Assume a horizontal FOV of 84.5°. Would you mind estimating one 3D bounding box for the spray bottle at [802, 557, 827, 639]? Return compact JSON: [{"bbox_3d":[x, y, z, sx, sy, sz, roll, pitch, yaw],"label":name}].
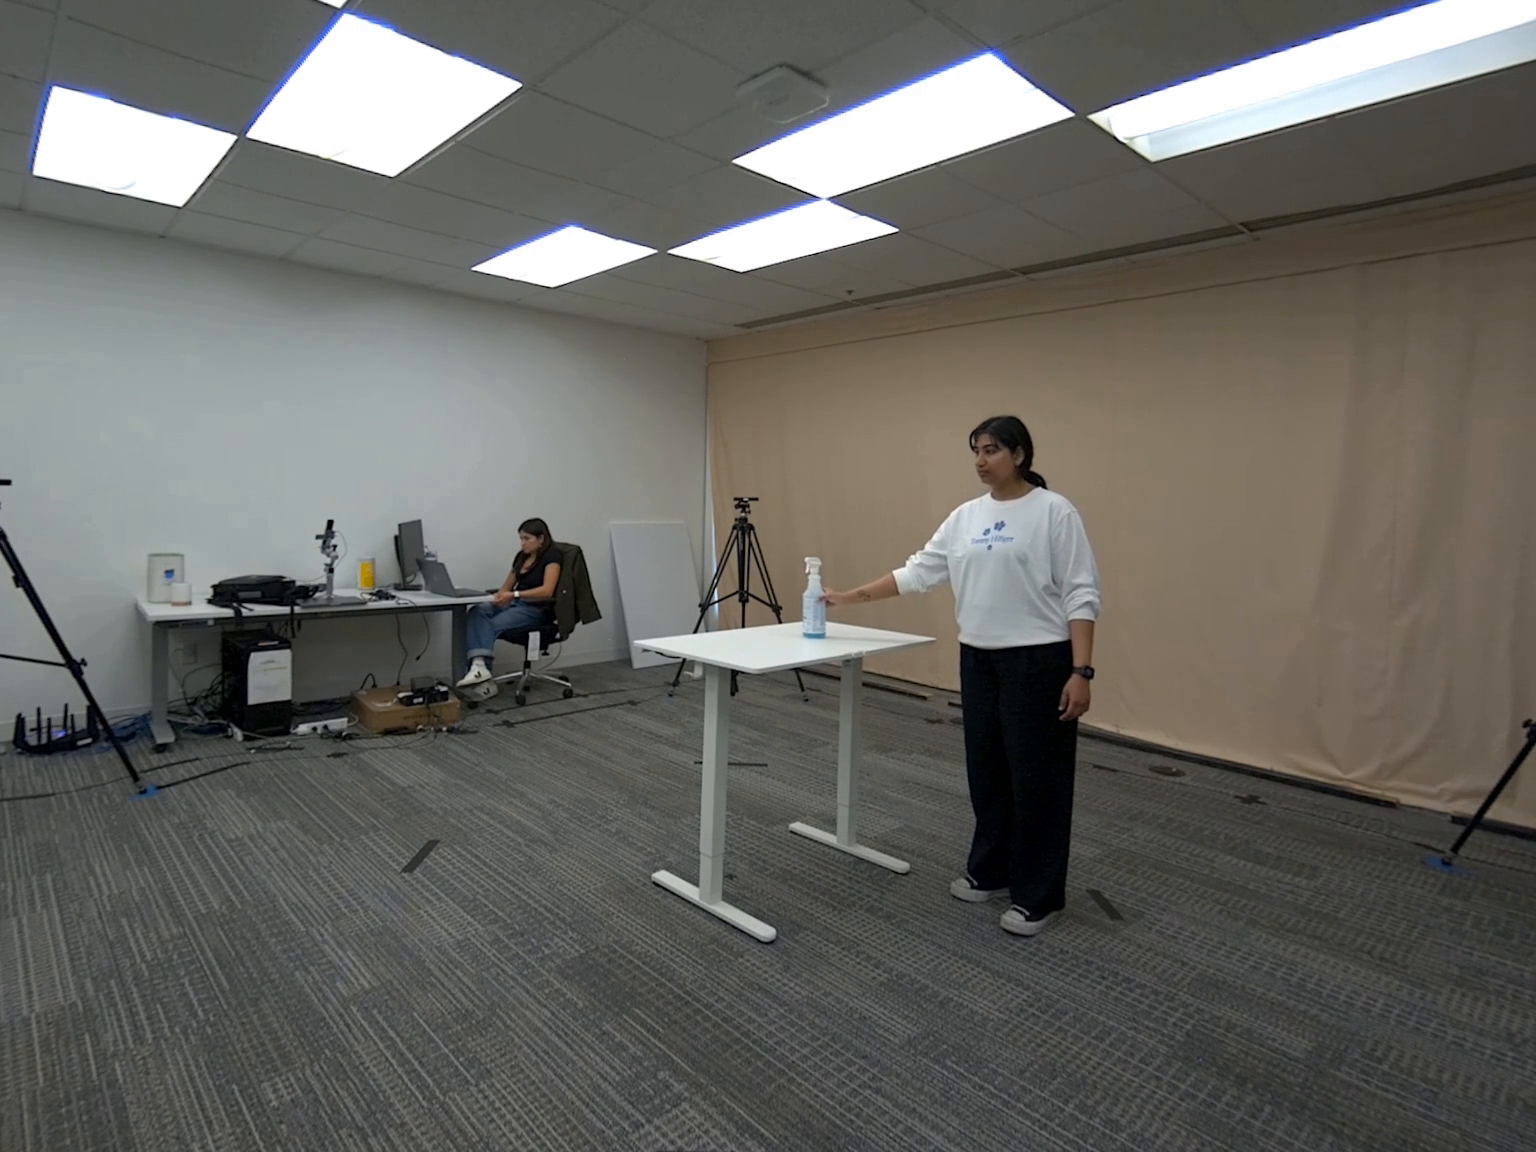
[{"bbox_3d":[0.176,0.076,3.150,0.088,0.296,0.089,0,4,-23],"label":"spray bottle"}]
